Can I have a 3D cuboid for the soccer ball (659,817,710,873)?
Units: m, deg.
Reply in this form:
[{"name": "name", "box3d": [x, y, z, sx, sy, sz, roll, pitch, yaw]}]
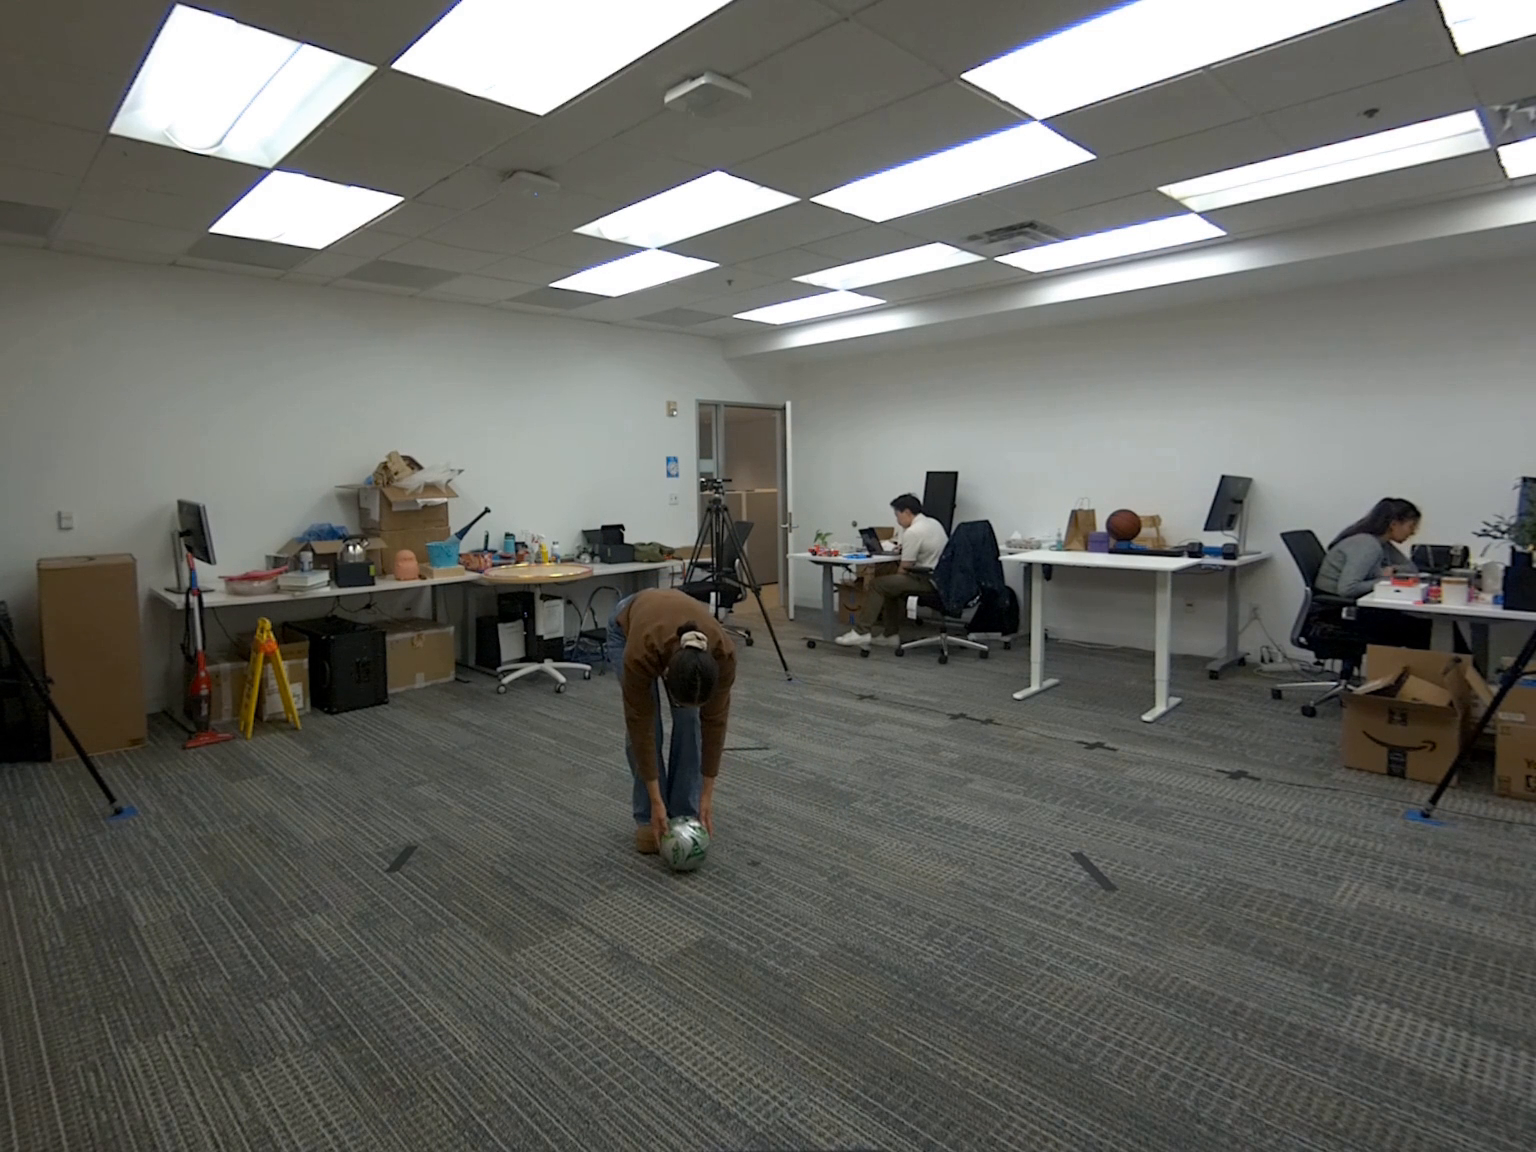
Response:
[{"name": "soccer ball", "box3d": [-0.305, 0.962, 3.069, 0.187, 0.187, 0.188, -1, 5, -2]}]
